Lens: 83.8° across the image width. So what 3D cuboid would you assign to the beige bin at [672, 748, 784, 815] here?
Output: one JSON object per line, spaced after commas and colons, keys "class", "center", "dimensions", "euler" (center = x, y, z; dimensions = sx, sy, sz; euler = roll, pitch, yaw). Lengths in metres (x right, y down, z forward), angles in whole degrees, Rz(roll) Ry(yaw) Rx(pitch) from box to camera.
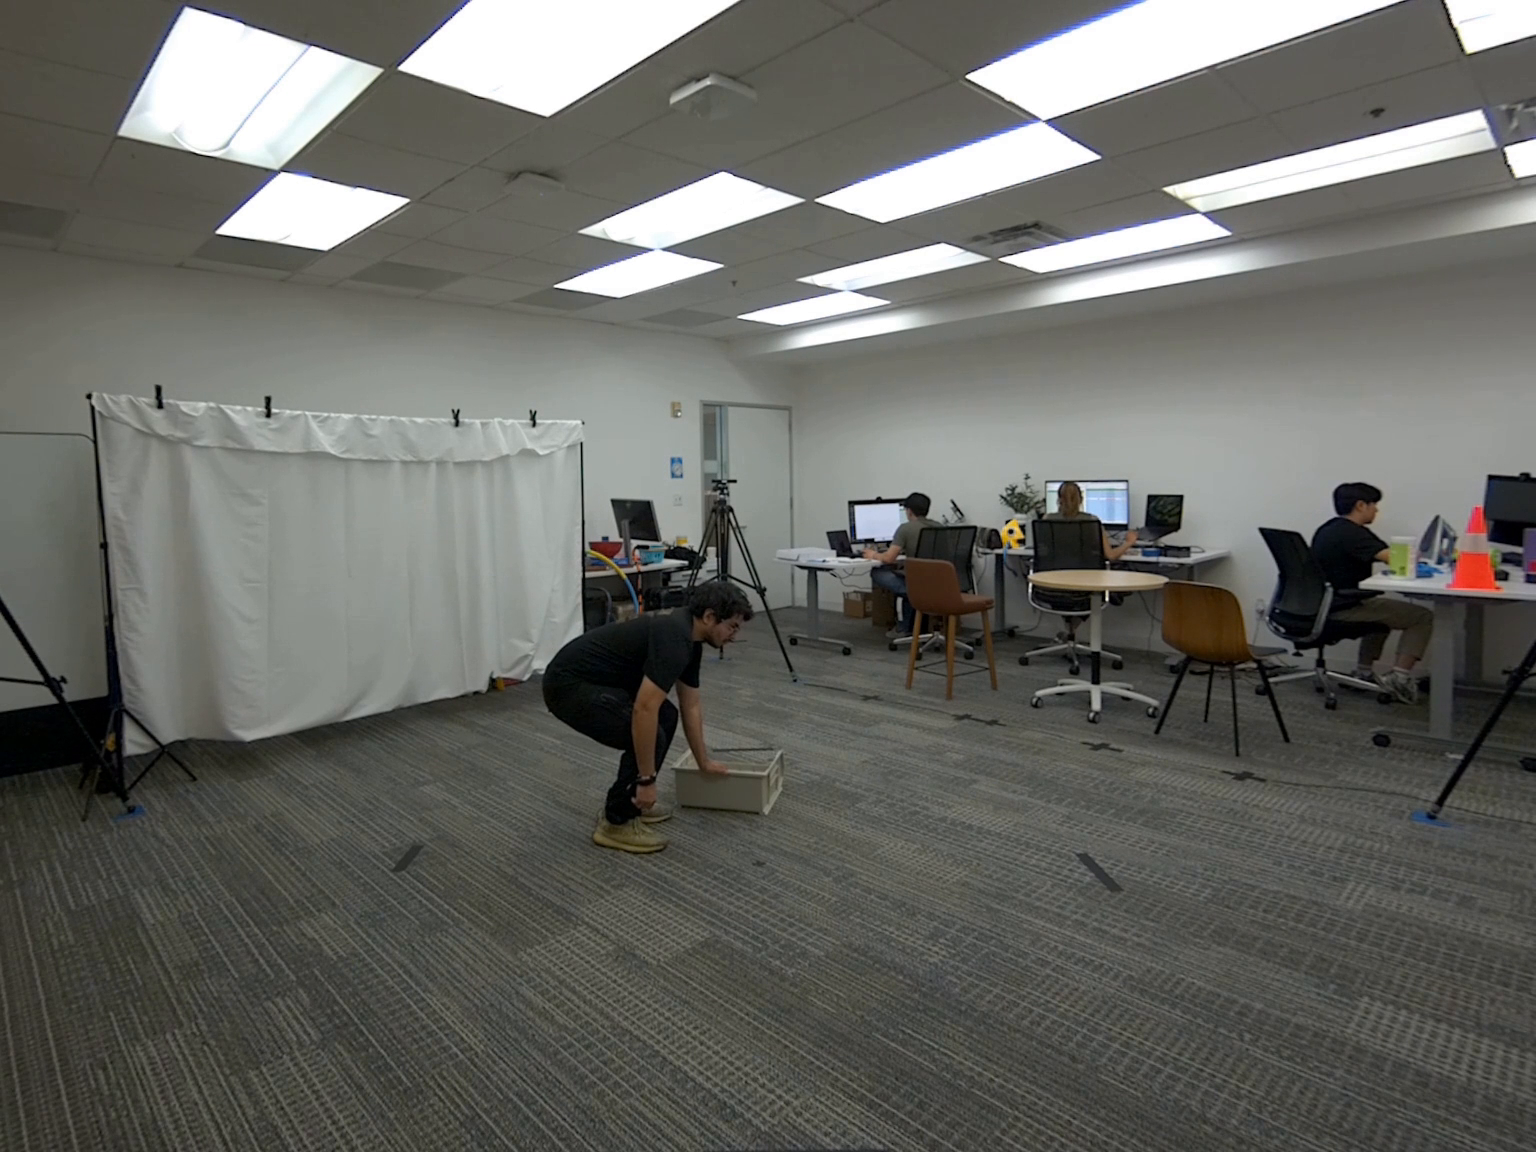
{"class": "beige bin", "center": [-0.169, 0.888, 3.782], "dimensions": [0.429, 0.188, 0.374], "euler": [1, 8, 15]}
